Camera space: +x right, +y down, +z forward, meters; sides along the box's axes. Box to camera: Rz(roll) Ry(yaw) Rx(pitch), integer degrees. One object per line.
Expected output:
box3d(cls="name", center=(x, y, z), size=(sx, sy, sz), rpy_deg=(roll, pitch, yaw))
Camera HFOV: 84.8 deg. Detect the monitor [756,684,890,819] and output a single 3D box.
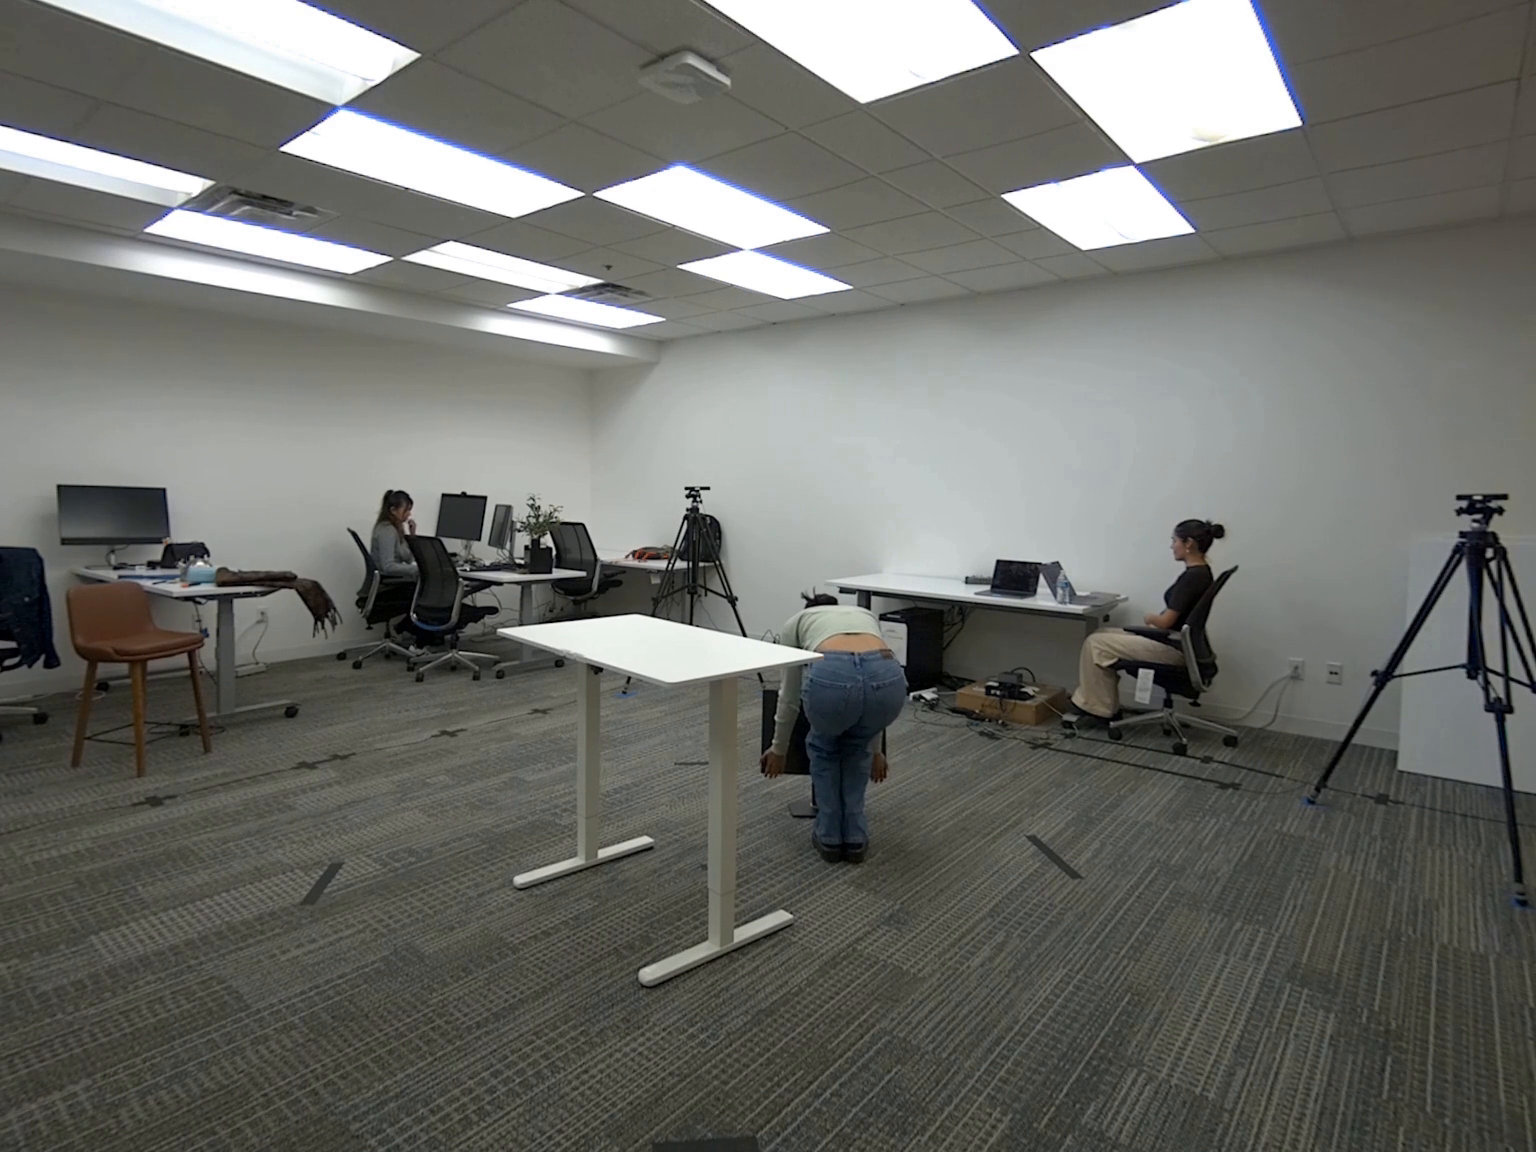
box3d(cls="monitor", center=(0.236, 0.760, 3.685), size=(0.537, 0.522, 0.188), rpy_deg=(2, 1, -3))
